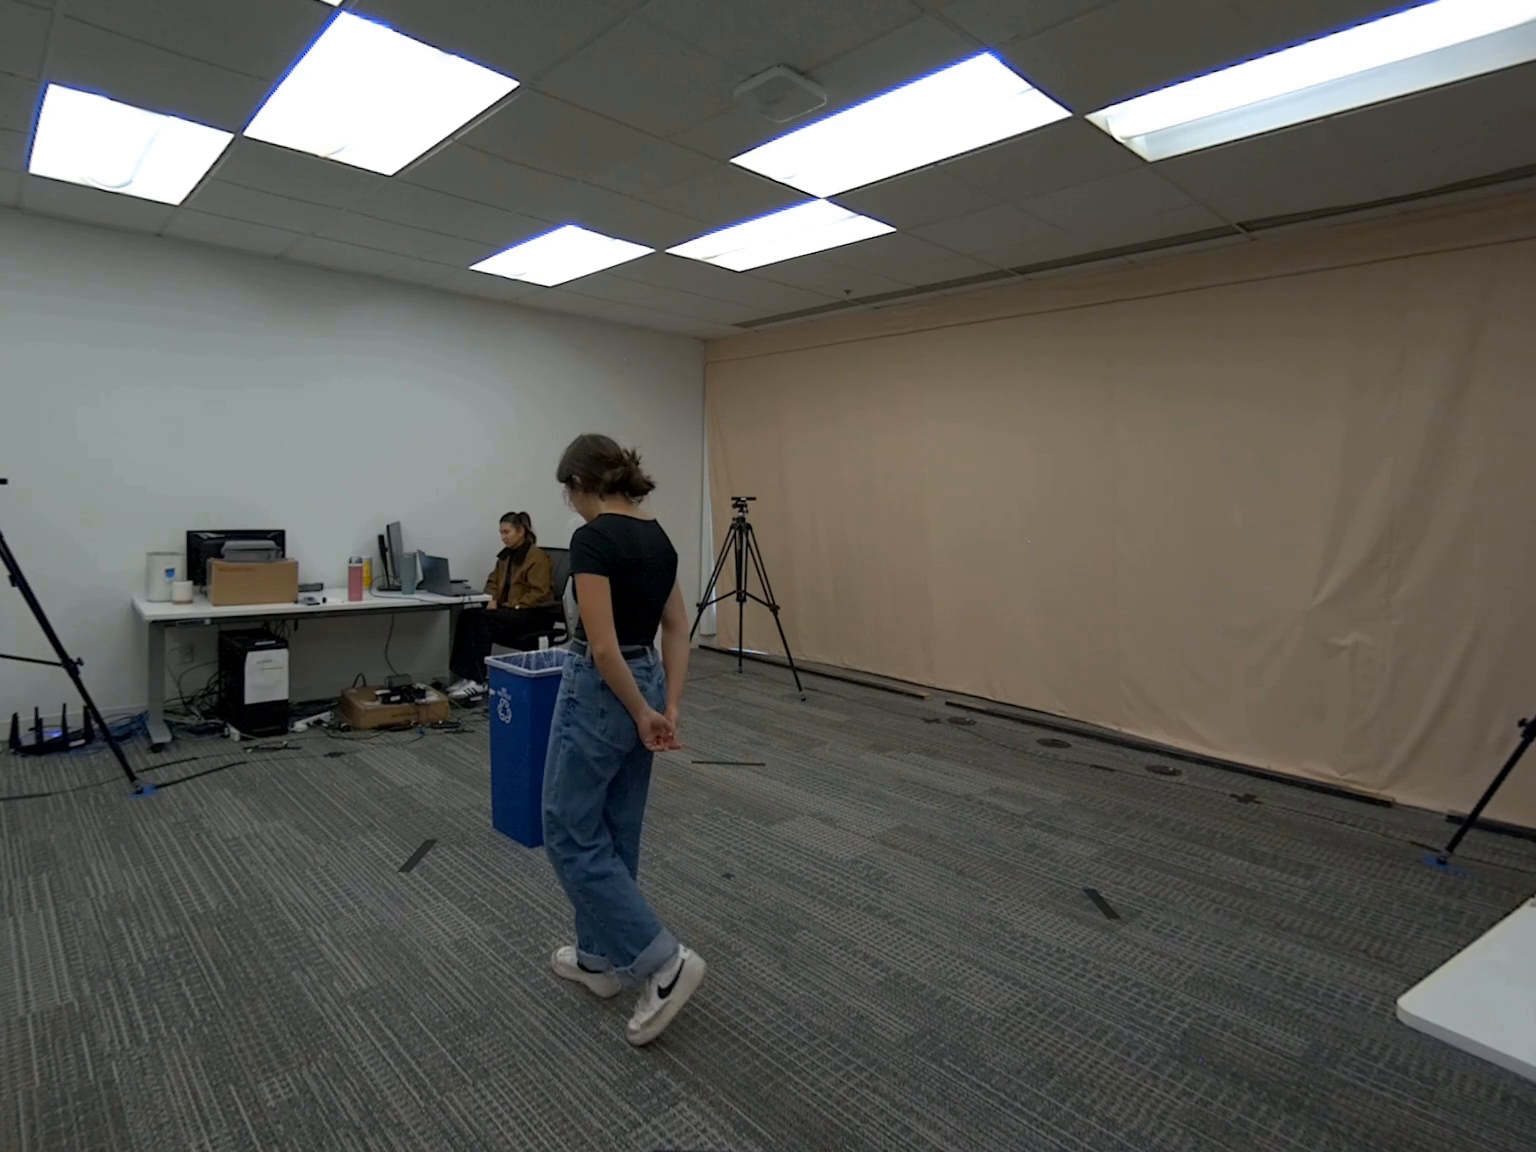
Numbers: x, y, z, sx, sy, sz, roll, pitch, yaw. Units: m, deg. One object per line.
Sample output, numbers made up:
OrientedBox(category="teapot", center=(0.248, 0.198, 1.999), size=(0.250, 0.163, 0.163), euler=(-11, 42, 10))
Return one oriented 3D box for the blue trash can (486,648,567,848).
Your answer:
OrientedBox(category="blue trash can", center=(-0.942, 0.697, 3.502), size=(0.388, 0.711, 0.366), euler=(5, 6, 43))
